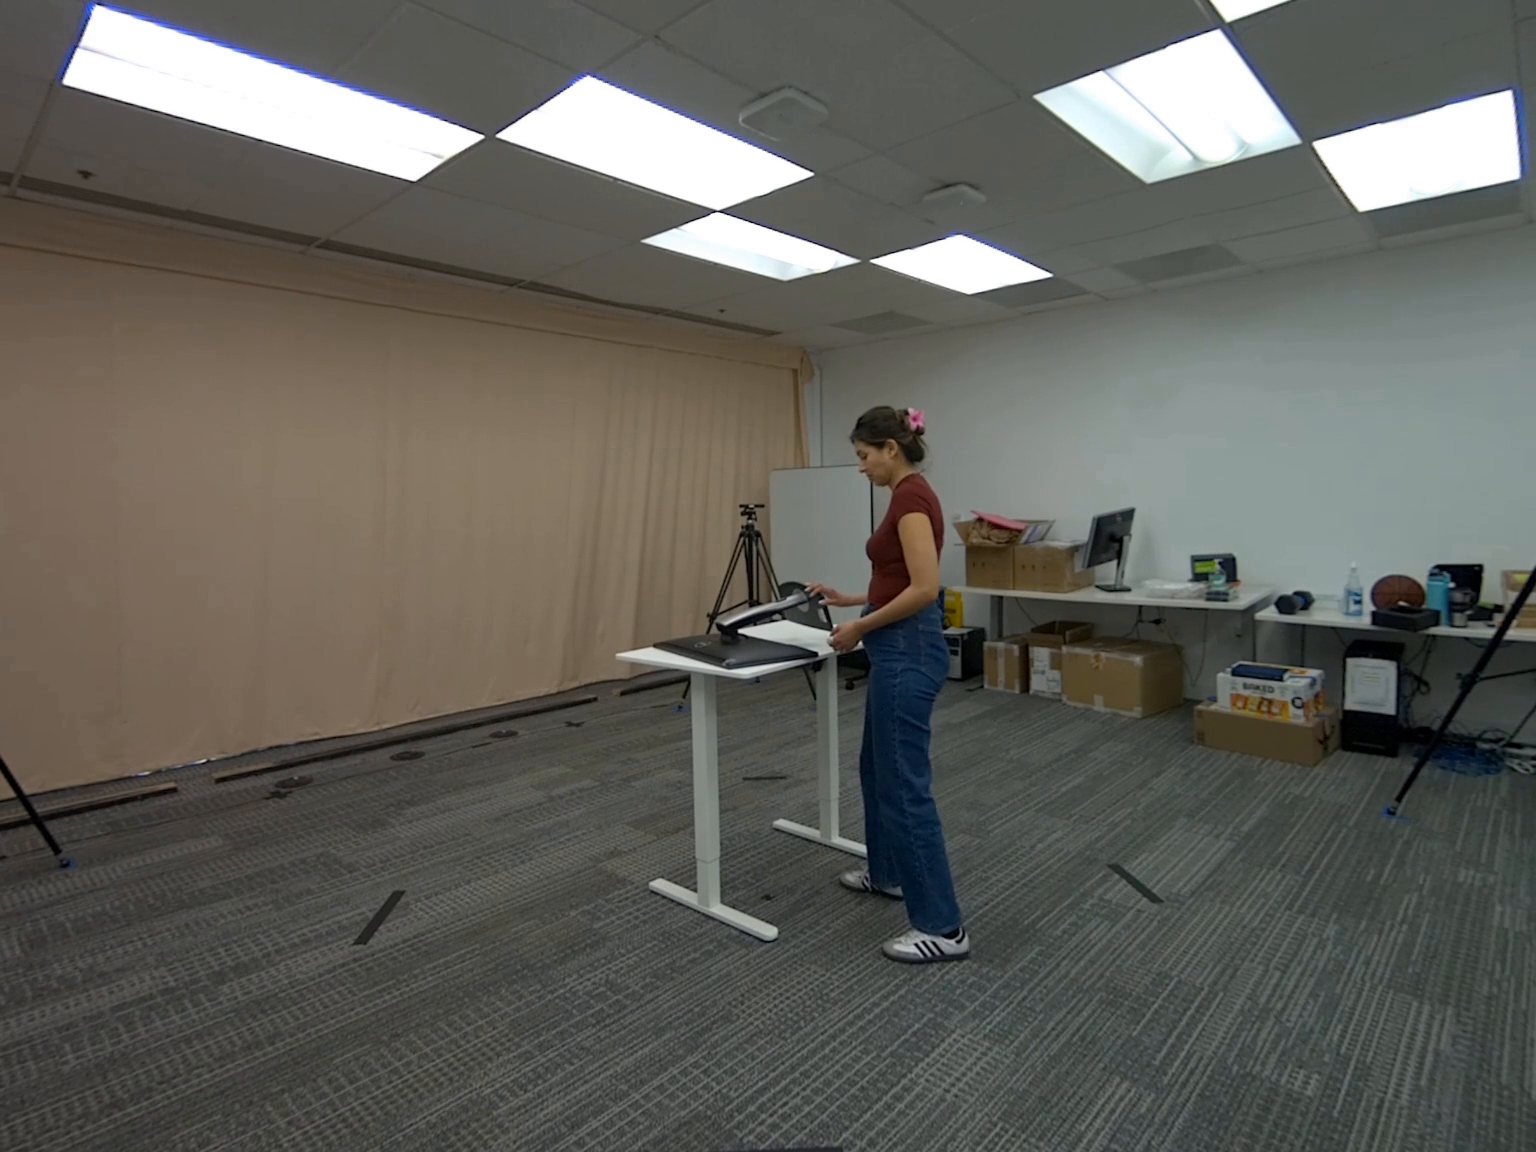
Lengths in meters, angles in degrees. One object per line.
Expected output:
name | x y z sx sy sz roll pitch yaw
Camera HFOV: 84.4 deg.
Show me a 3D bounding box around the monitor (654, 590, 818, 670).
monitor | -0.060 0.193 2.972 0.513 0.185 0.555 -23 15 -28
